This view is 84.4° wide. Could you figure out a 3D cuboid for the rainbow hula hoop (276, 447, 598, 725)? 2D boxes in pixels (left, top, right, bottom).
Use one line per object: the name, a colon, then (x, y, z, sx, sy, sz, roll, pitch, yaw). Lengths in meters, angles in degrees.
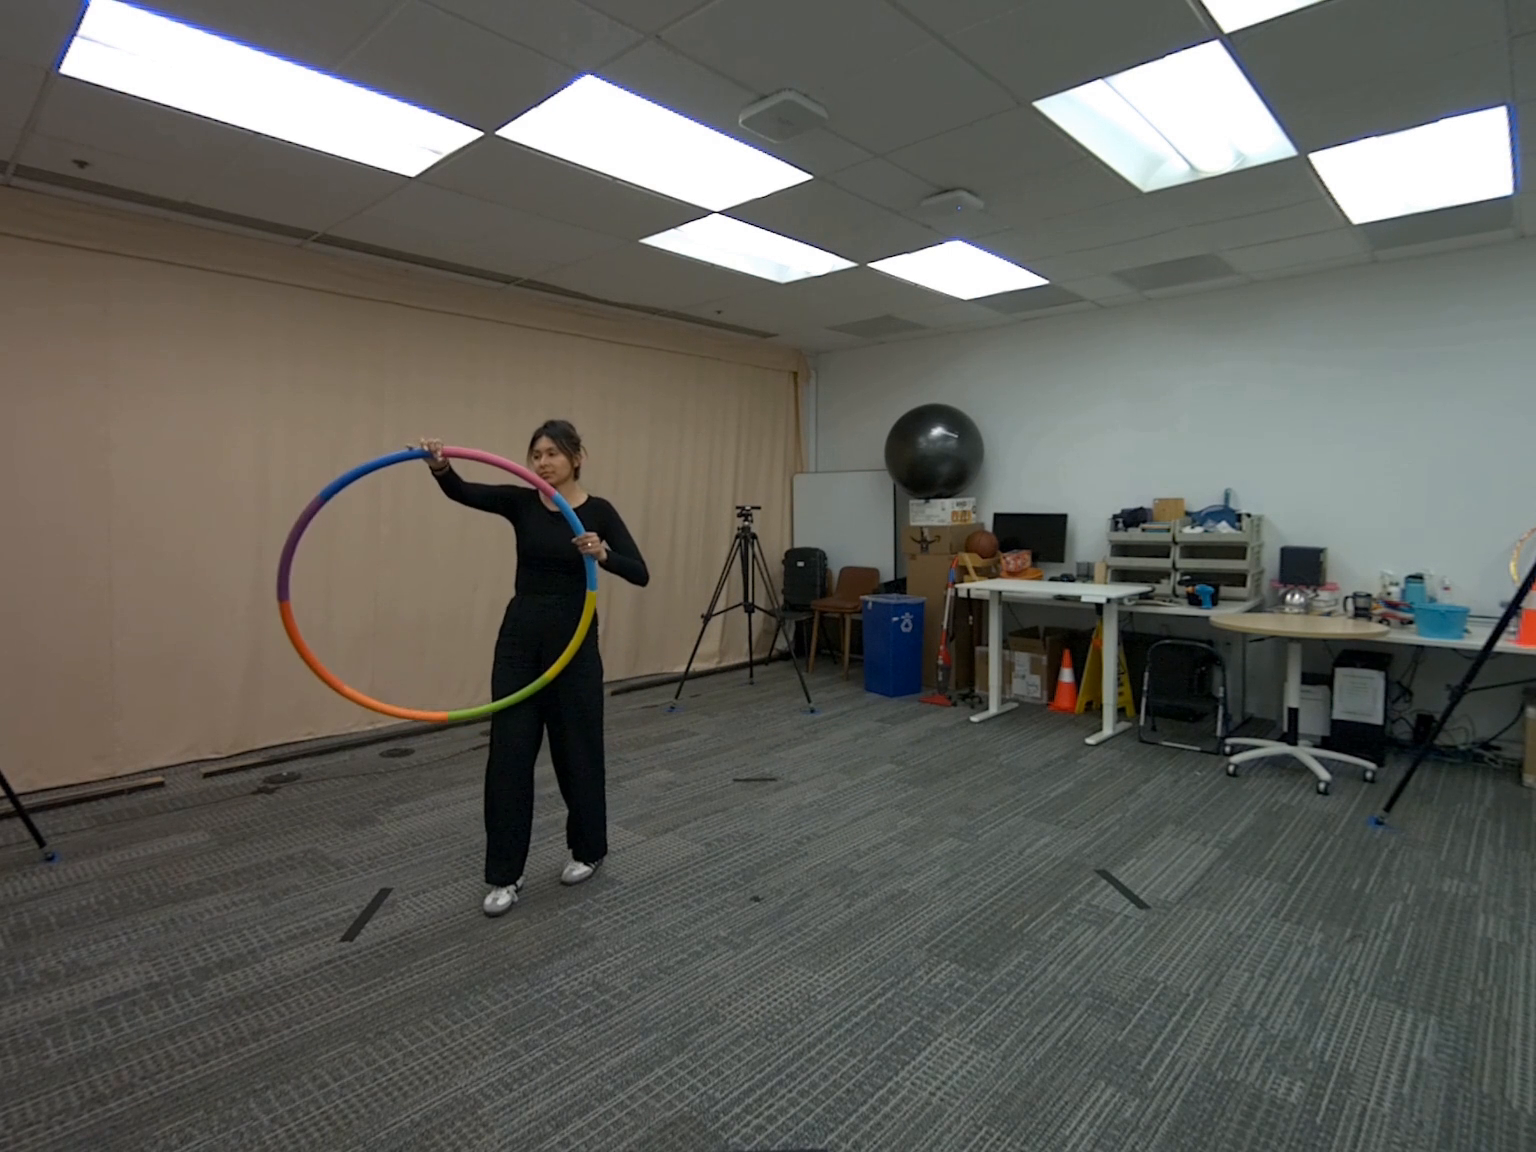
rainbow hula hoop: (-1.041, 0.058, 2.710, 0.968, 0.975, 0.053, -1, 24, -17)
